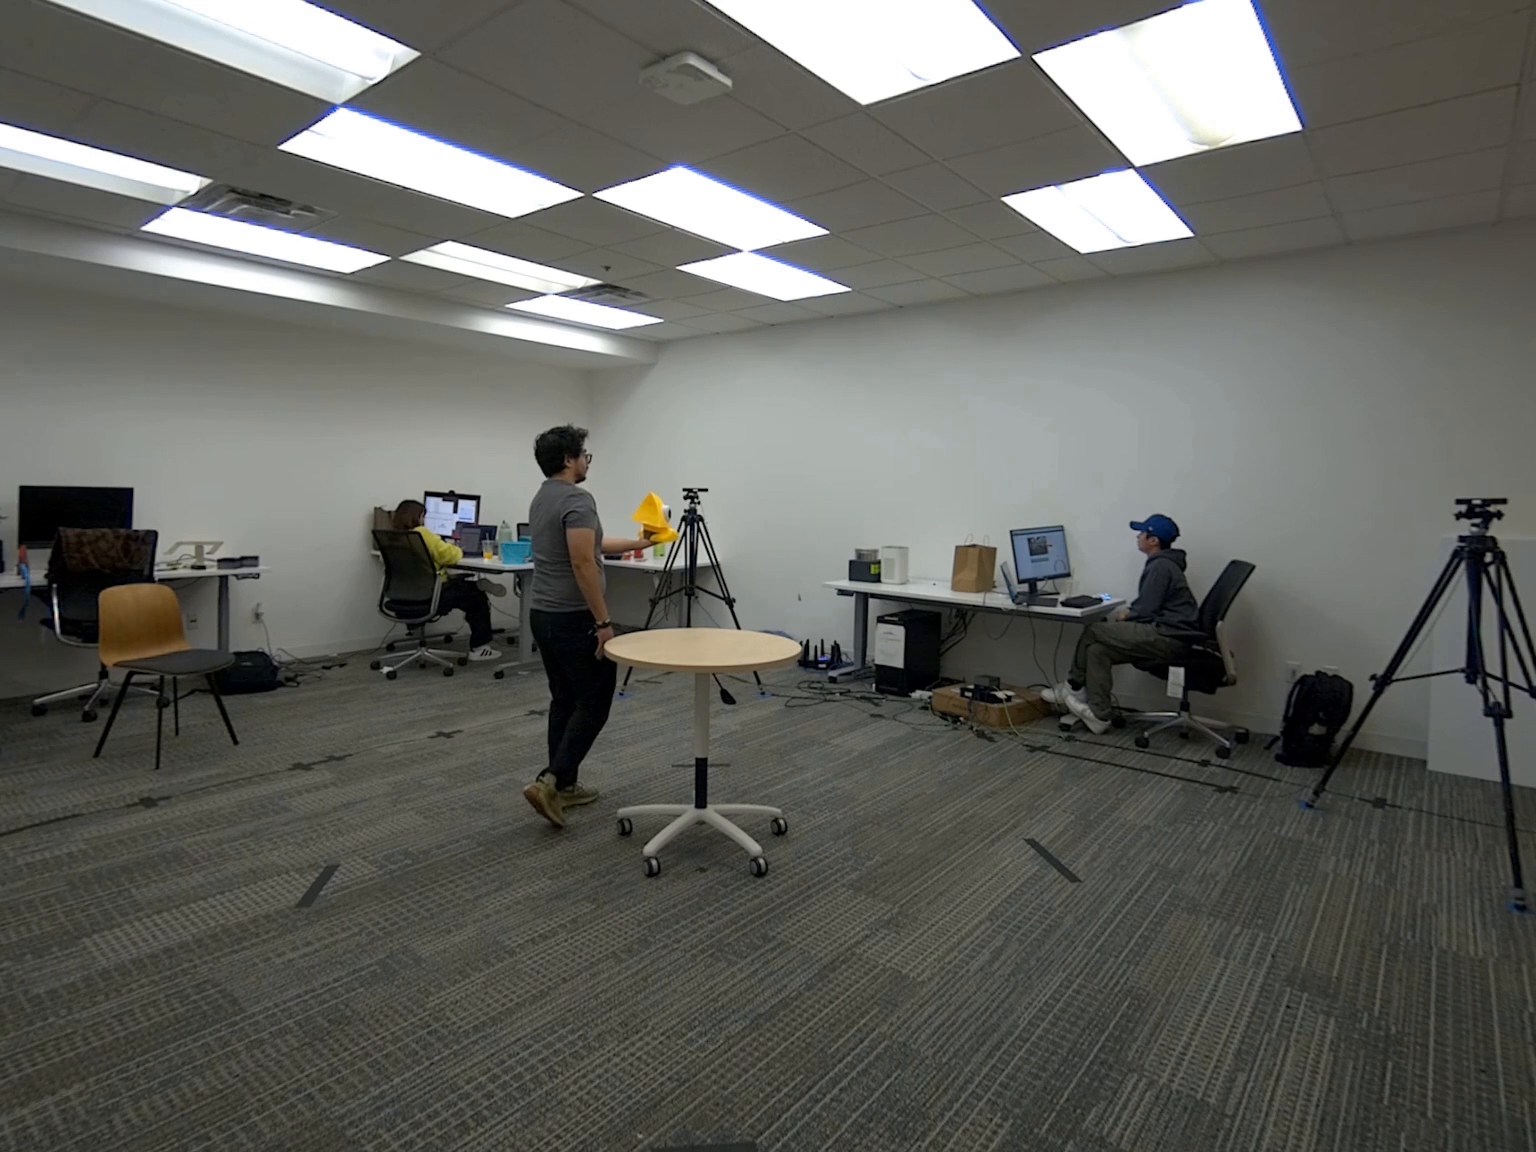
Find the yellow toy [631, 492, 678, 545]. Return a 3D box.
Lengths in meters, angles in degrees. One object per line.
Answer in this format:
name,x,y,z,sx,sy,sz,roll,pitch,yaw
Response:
yellow toy,-0.545,-0.301,4.093,0.212,0.228,0.188,14,16,39
